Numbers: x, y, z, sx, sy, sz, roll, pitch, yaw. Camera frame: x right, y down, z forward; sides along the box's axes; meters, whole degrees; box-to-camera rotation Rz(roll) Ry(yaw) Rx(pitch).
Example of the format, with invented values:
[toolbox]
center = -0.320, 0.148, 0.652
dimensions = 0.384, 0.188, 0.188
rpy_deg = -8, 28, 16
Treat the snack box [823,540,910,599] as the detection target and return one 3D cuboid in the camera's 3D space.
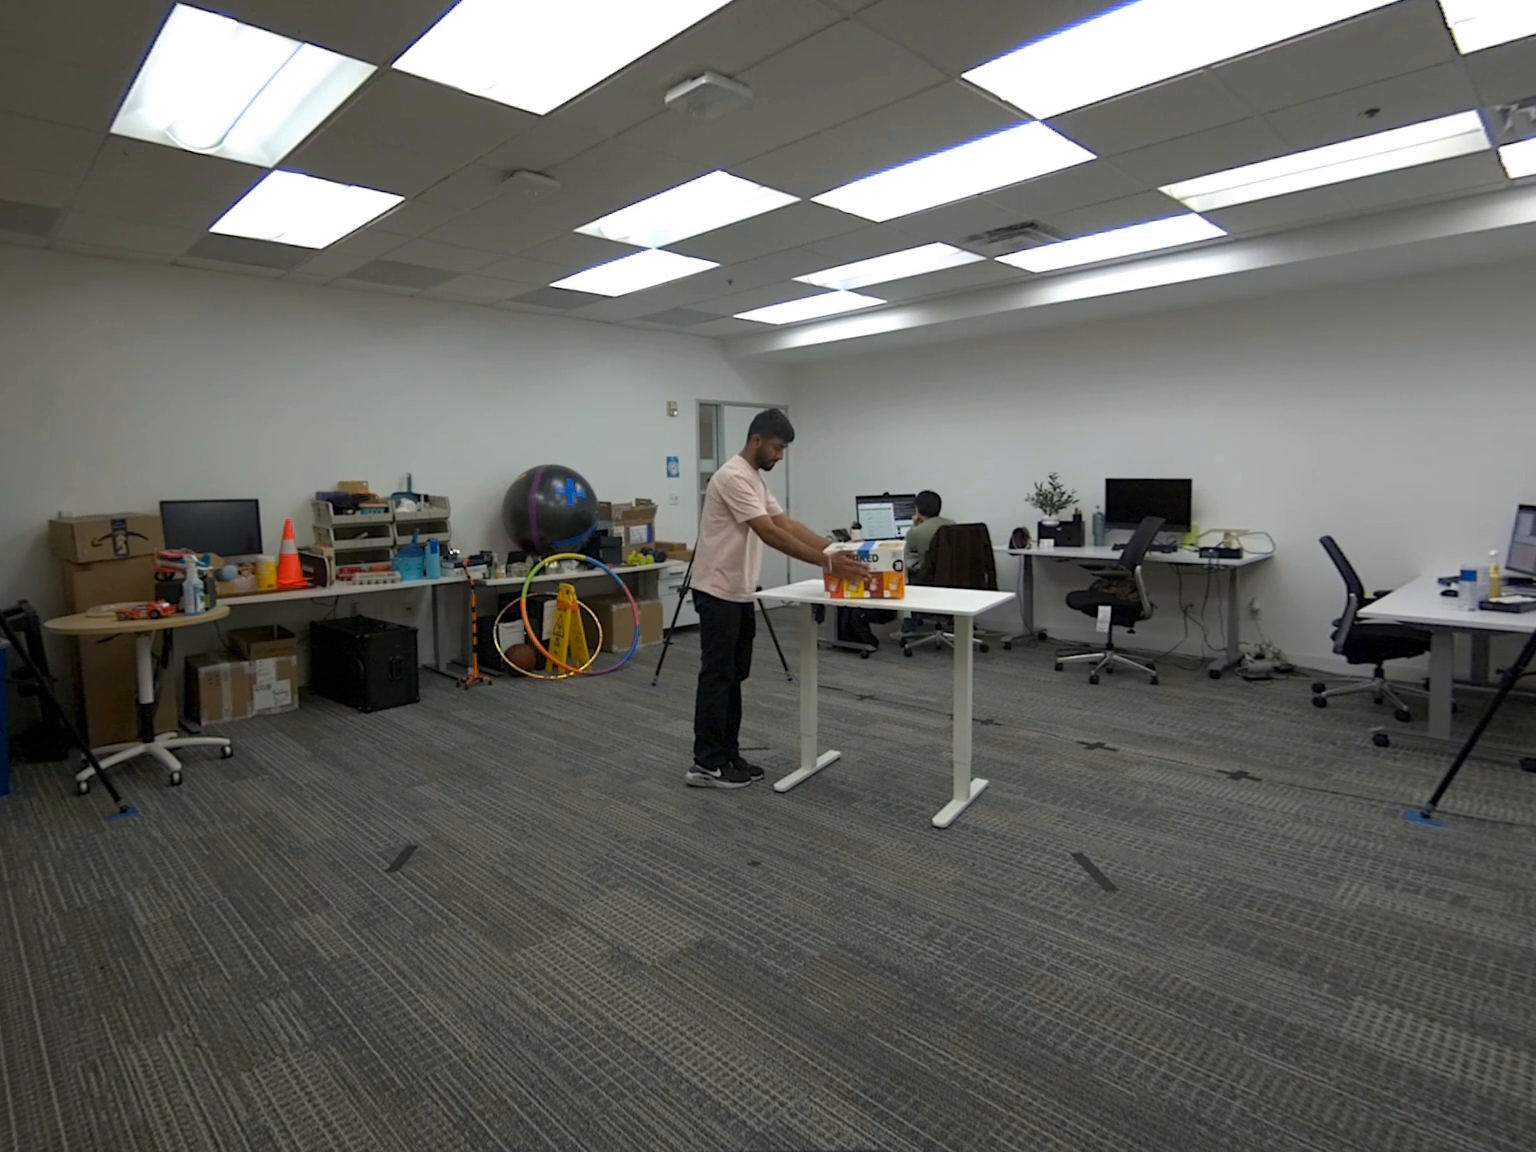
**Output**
[snack box]
center = 0.440, -0.035, 3.792
dimensions = 0.345, 0.205, 0.402
rpy_deg = -1, 6, 12
